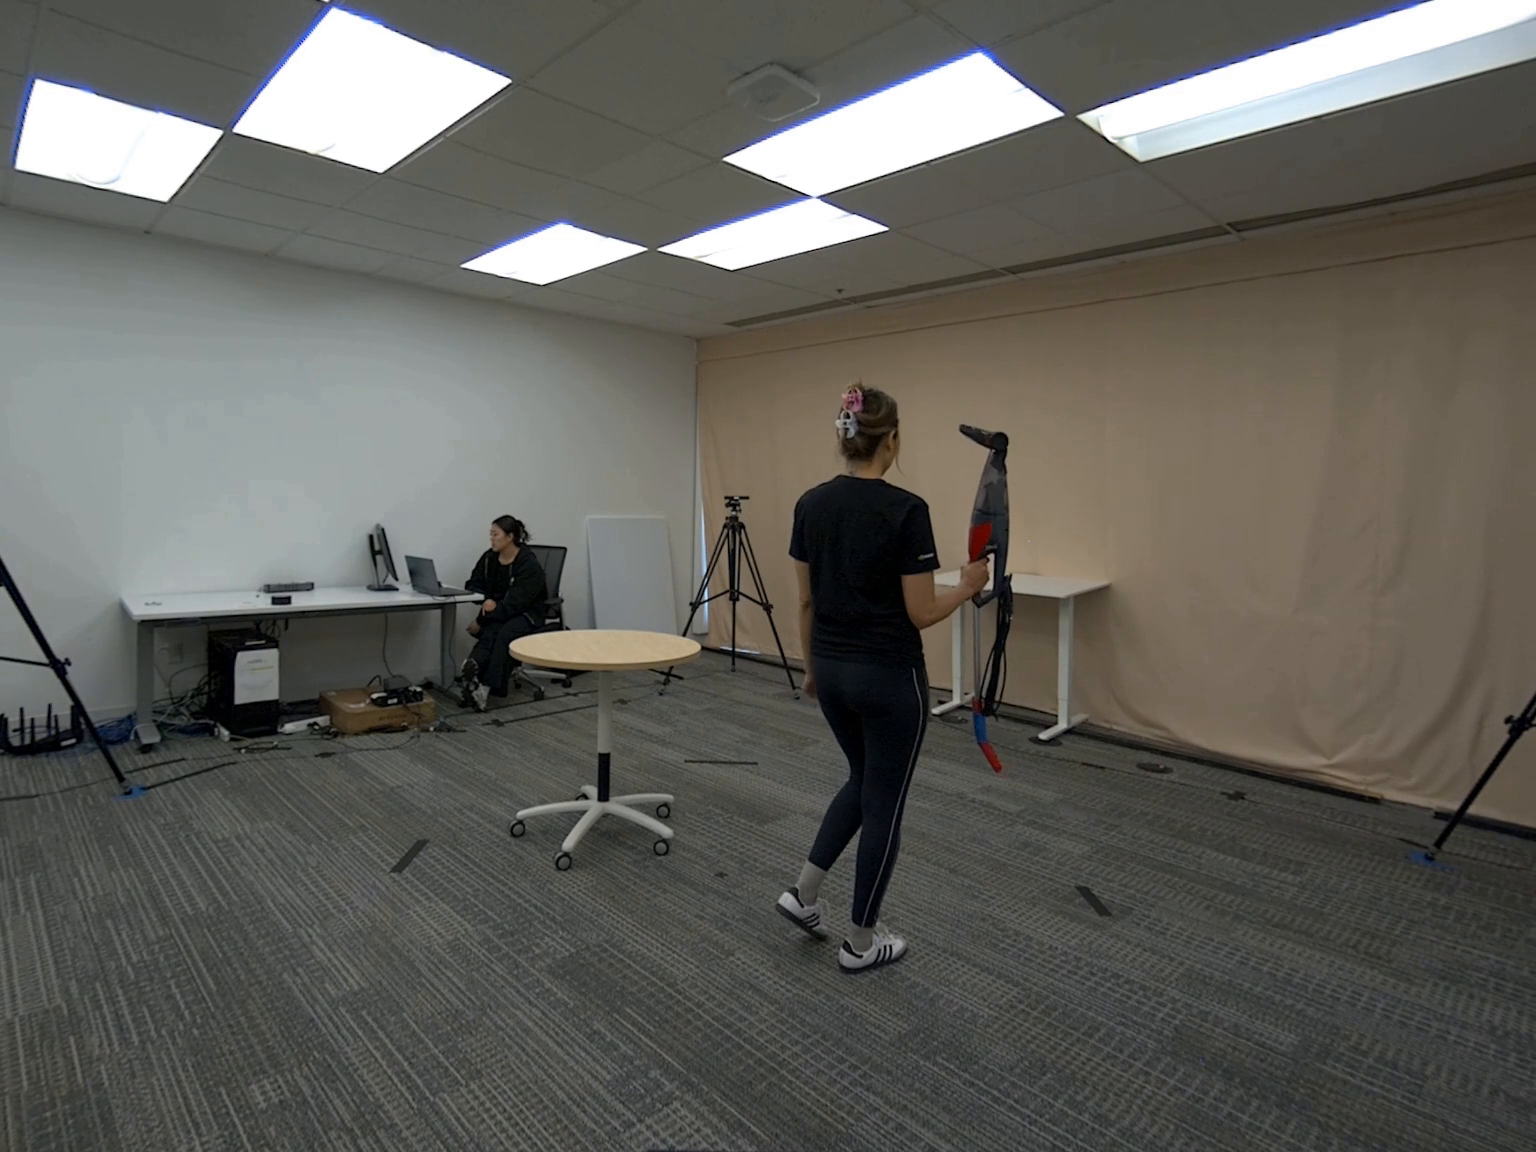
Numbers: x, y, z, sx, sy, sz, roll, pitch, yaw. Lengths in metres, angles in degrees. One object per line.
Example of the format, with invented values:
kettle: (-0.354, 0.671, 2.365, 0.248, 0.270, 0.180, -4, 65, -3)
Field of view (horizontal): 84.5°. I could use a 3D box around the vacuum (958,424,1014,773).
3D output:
vacuum: (0.675, 0.082, 2.546, 0.146, 1.044, 0.250, -1, 6, 15)
